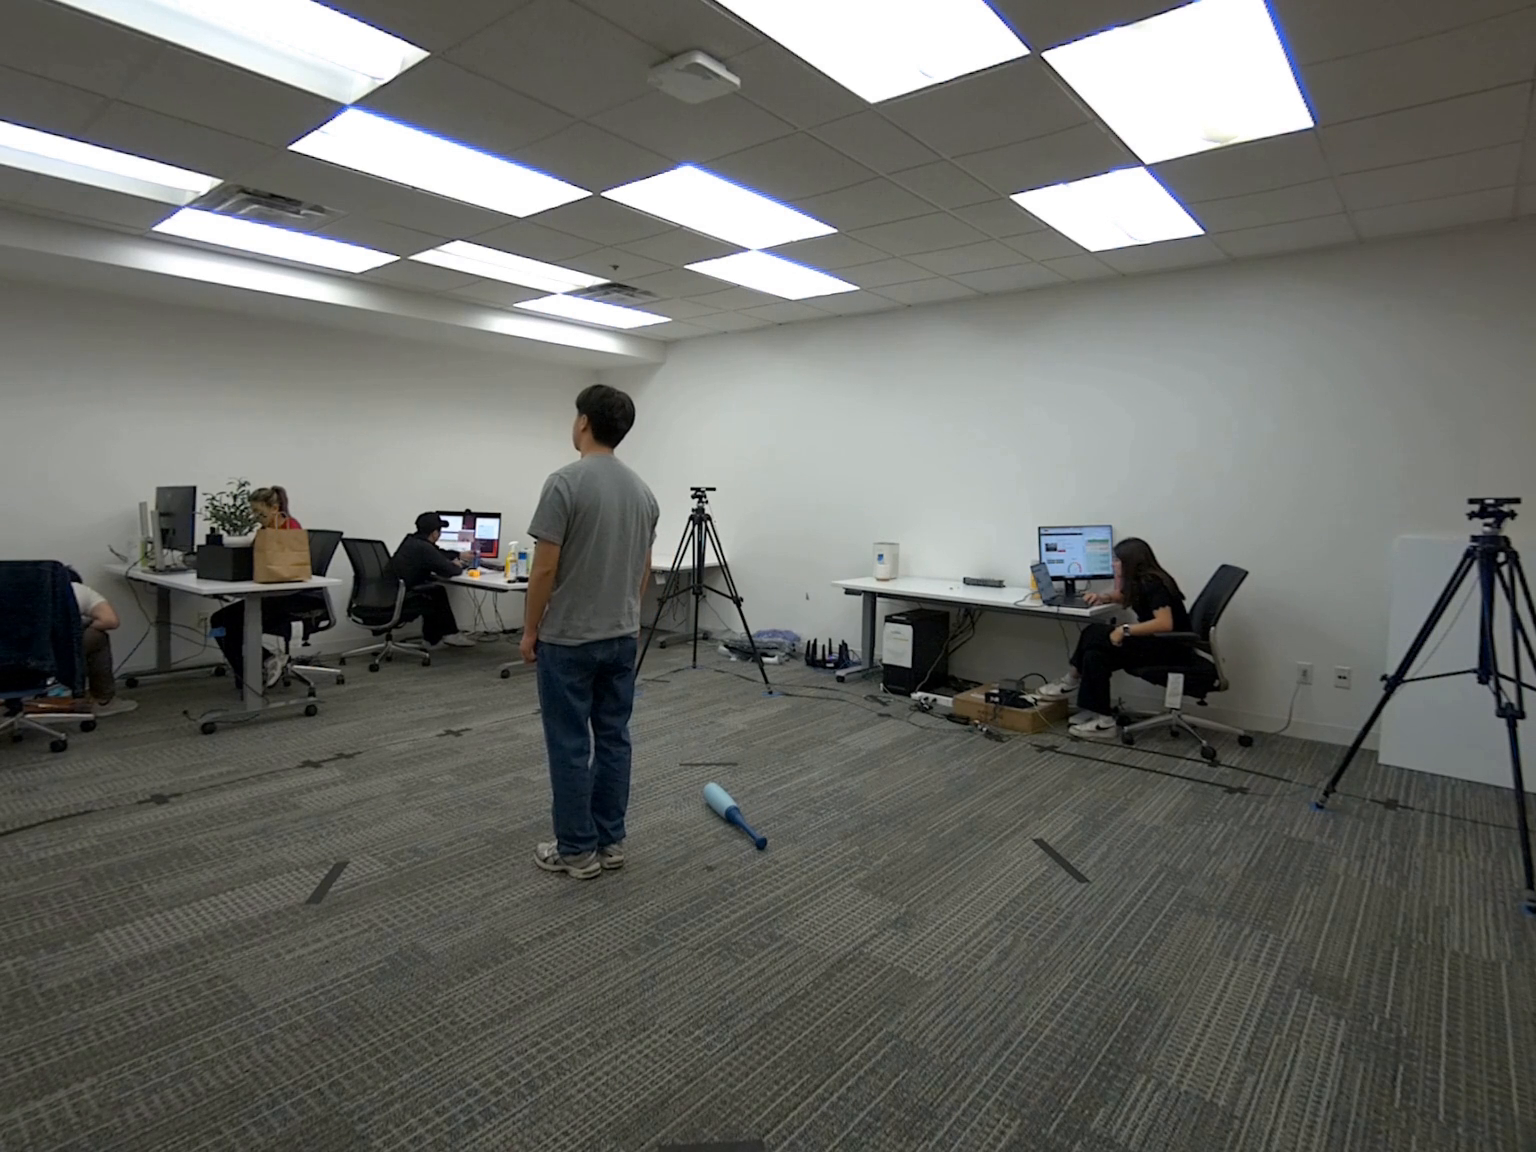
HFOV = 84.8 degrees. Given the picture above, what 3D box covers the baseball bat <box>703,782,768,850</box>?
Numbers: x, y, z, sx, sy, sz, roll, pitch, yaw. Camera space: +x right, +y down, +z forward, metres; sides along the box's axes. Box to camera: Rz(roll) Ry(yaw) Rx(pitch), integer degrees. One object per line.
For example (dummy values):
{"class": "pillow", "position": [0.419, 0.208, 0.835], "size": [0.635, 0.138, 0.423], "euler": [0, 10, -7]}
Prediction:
{"class": "baseball bat", "position": [-0.148, 0.991, 3.526], "size": [0.087, 0.088, 0.559], "euler": [-1, 9, -24]}
